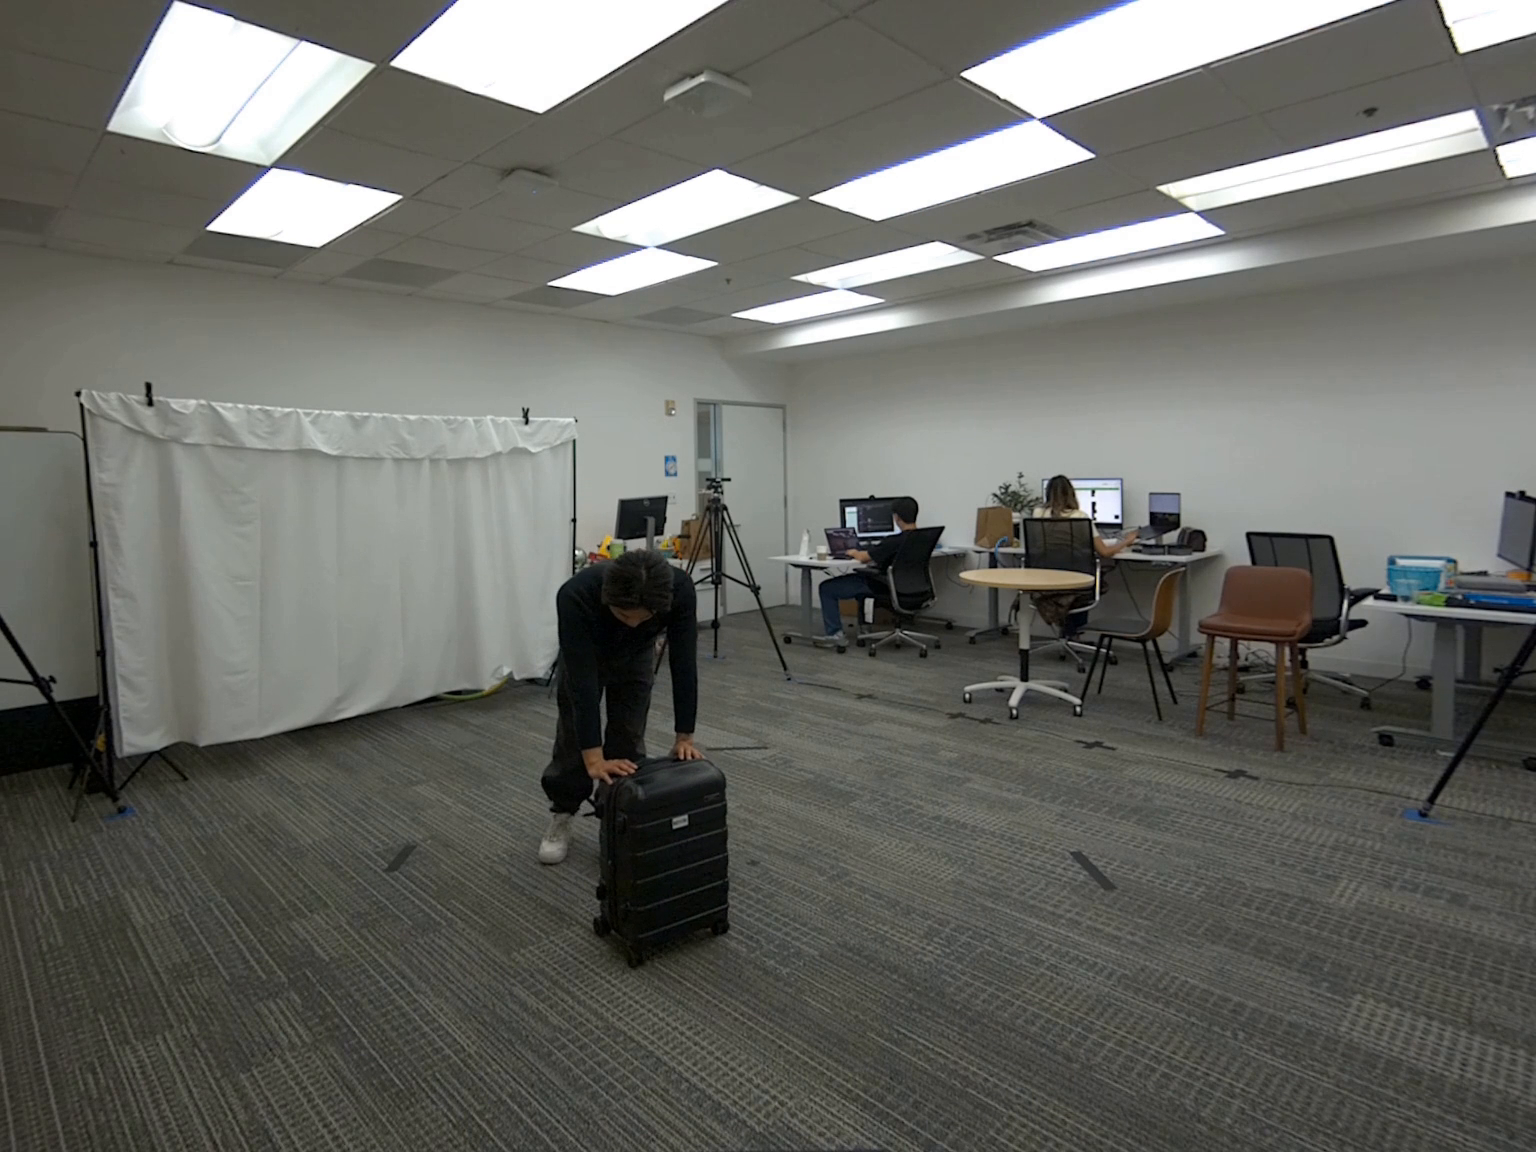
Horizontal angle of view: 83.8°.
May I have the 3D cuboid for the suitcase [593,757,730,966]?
[{"bbox_3d":[-0.311,0.833,2.603,0.366,0.547,0.256,-3,7,-35],"label":"suitcase"}]
